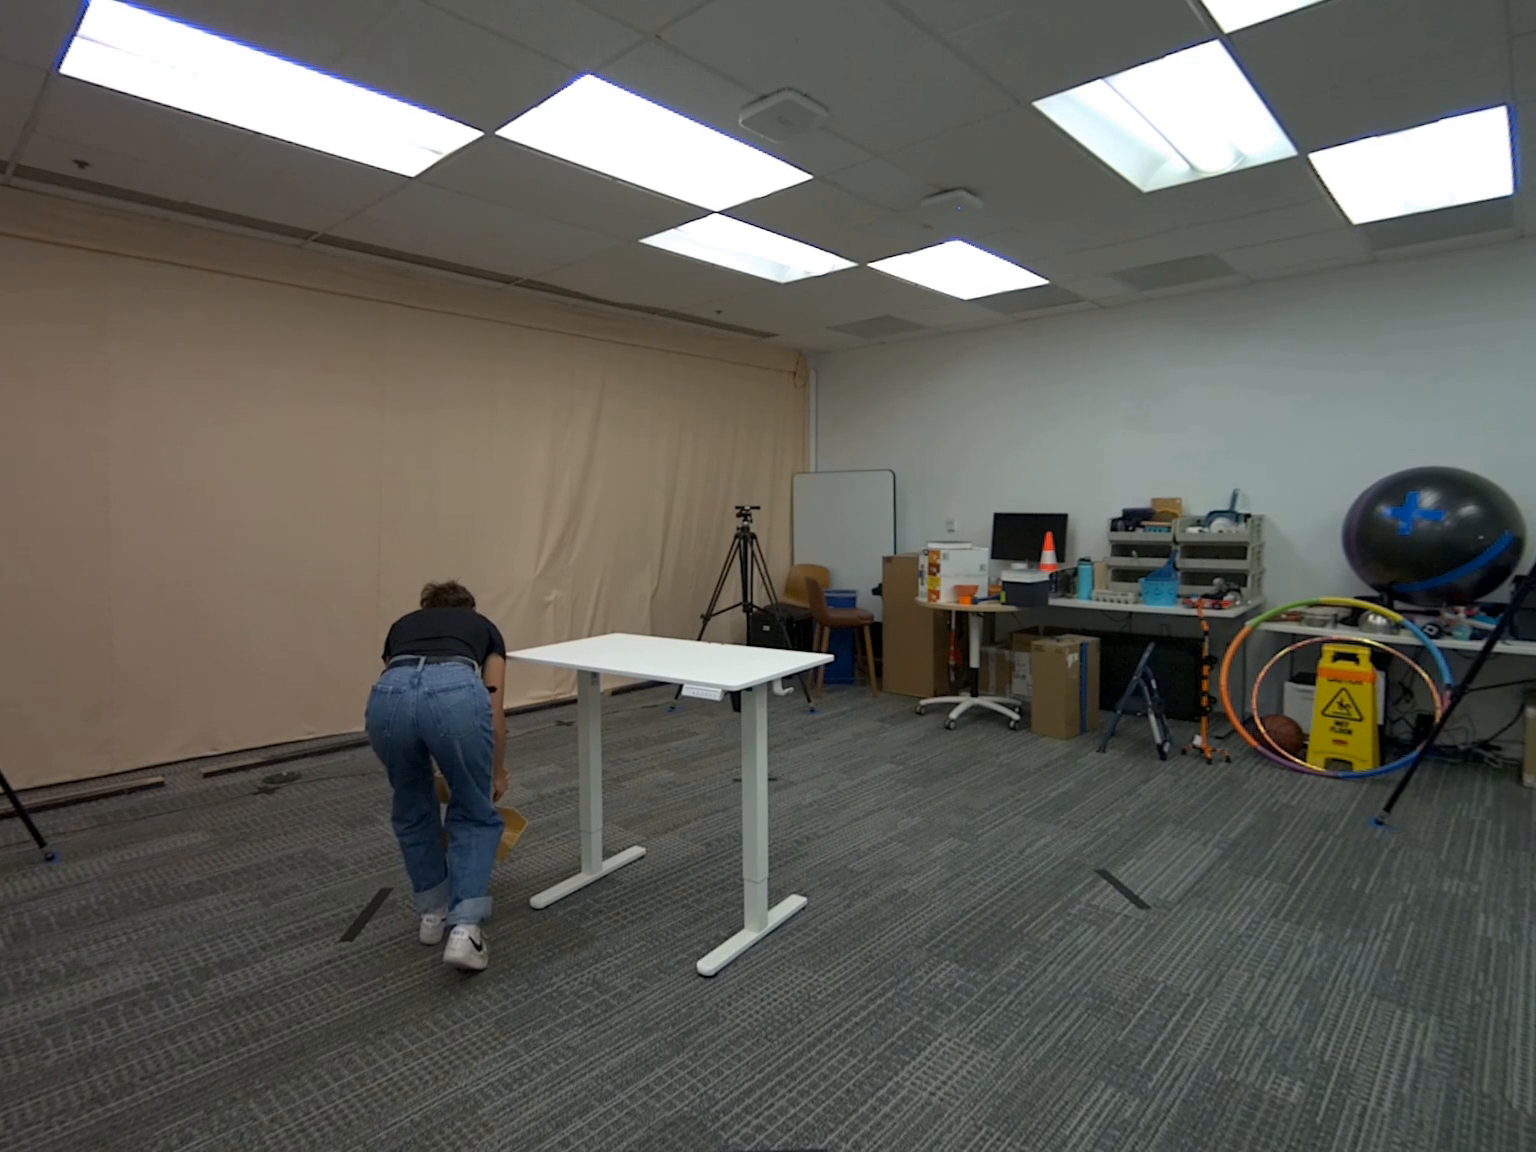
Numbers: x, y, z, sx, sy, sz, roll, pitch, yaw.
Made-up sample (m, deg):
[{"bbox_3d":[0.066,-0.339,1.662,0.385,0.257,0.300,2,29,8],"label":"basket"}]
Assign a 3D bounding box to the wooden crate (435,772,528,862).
[{"bbox_3d":[-1.021,0.823,3.021,0.301,0.273,0.325,8,-1,-3],"label":"wooden crate"}]
